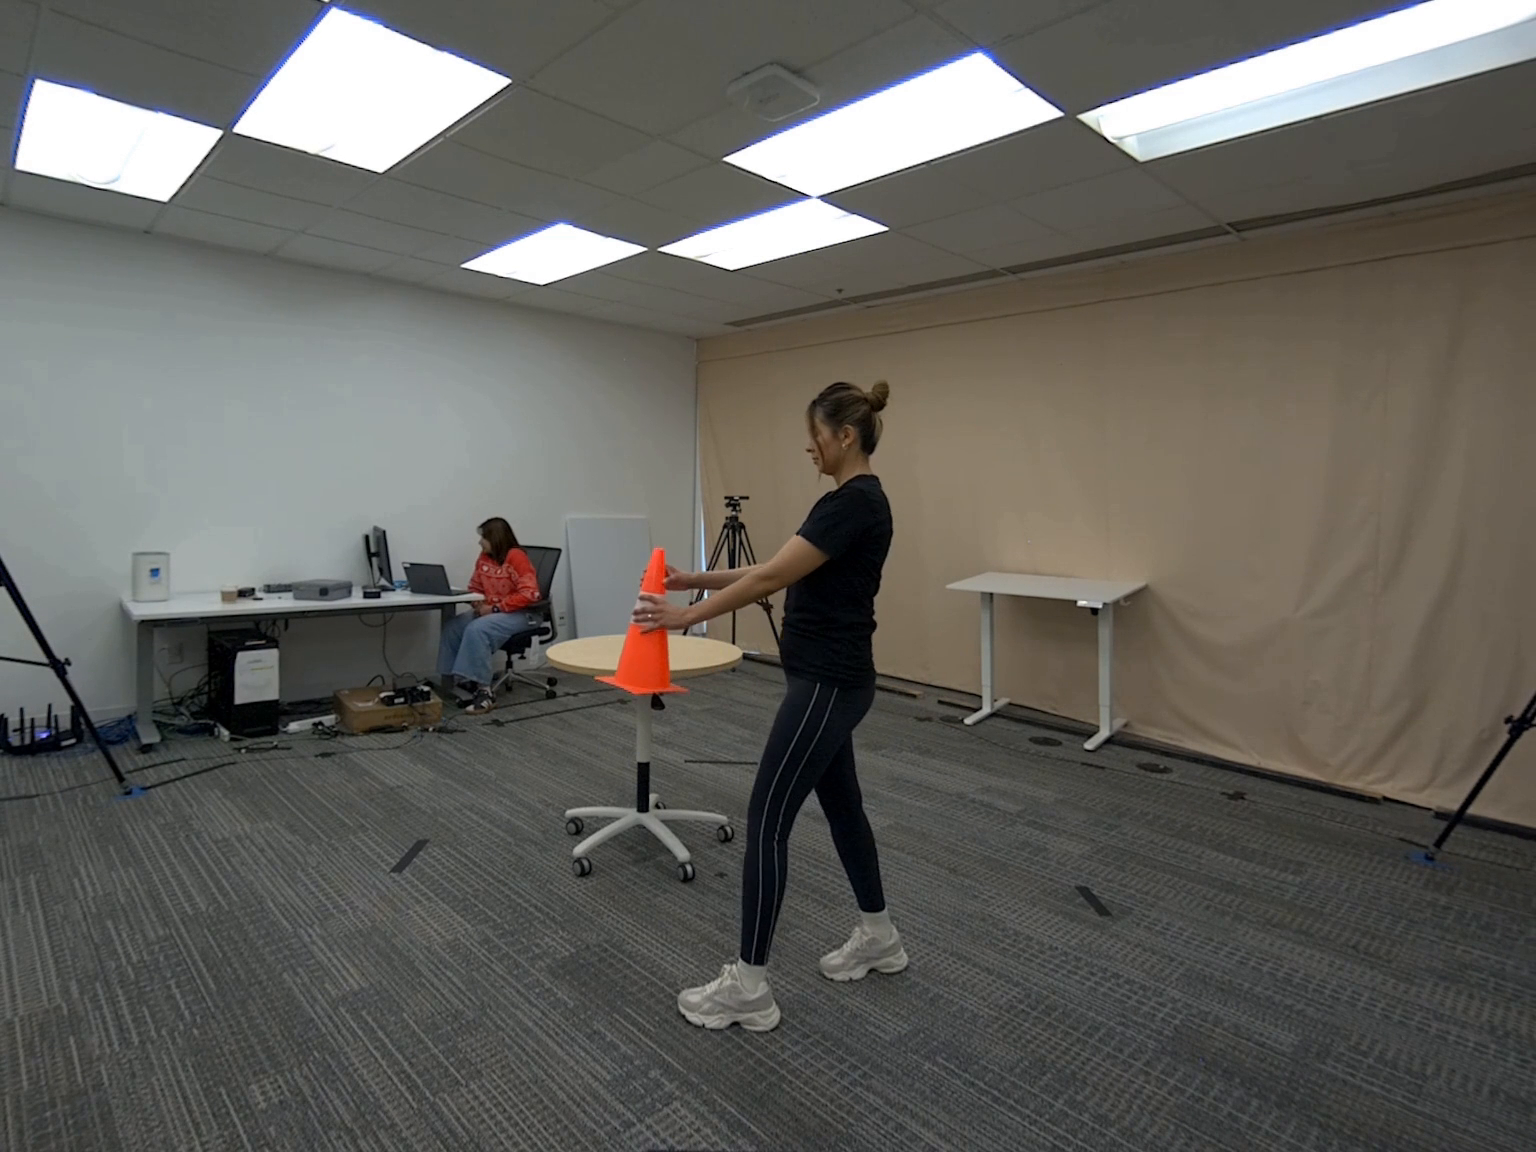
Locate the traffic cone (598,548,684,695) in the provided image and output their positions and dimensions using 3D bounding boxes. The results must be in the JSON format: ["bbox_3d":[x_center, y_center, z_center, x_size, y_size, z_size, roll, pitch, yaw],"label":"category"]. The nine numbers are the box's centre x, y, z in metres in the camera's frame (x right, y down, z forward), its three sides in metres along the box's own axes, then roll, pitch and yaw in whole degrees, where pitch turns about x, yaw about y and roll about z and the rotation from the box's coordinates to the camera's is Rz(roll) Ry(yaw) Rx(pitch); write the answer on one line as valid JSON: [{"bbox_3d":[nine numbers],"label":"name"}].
[{"bbox_3d":[-0.326,0.116,2.335,0.210,0.383,0.198,7,3,36],"label":"traffic cone"}]
